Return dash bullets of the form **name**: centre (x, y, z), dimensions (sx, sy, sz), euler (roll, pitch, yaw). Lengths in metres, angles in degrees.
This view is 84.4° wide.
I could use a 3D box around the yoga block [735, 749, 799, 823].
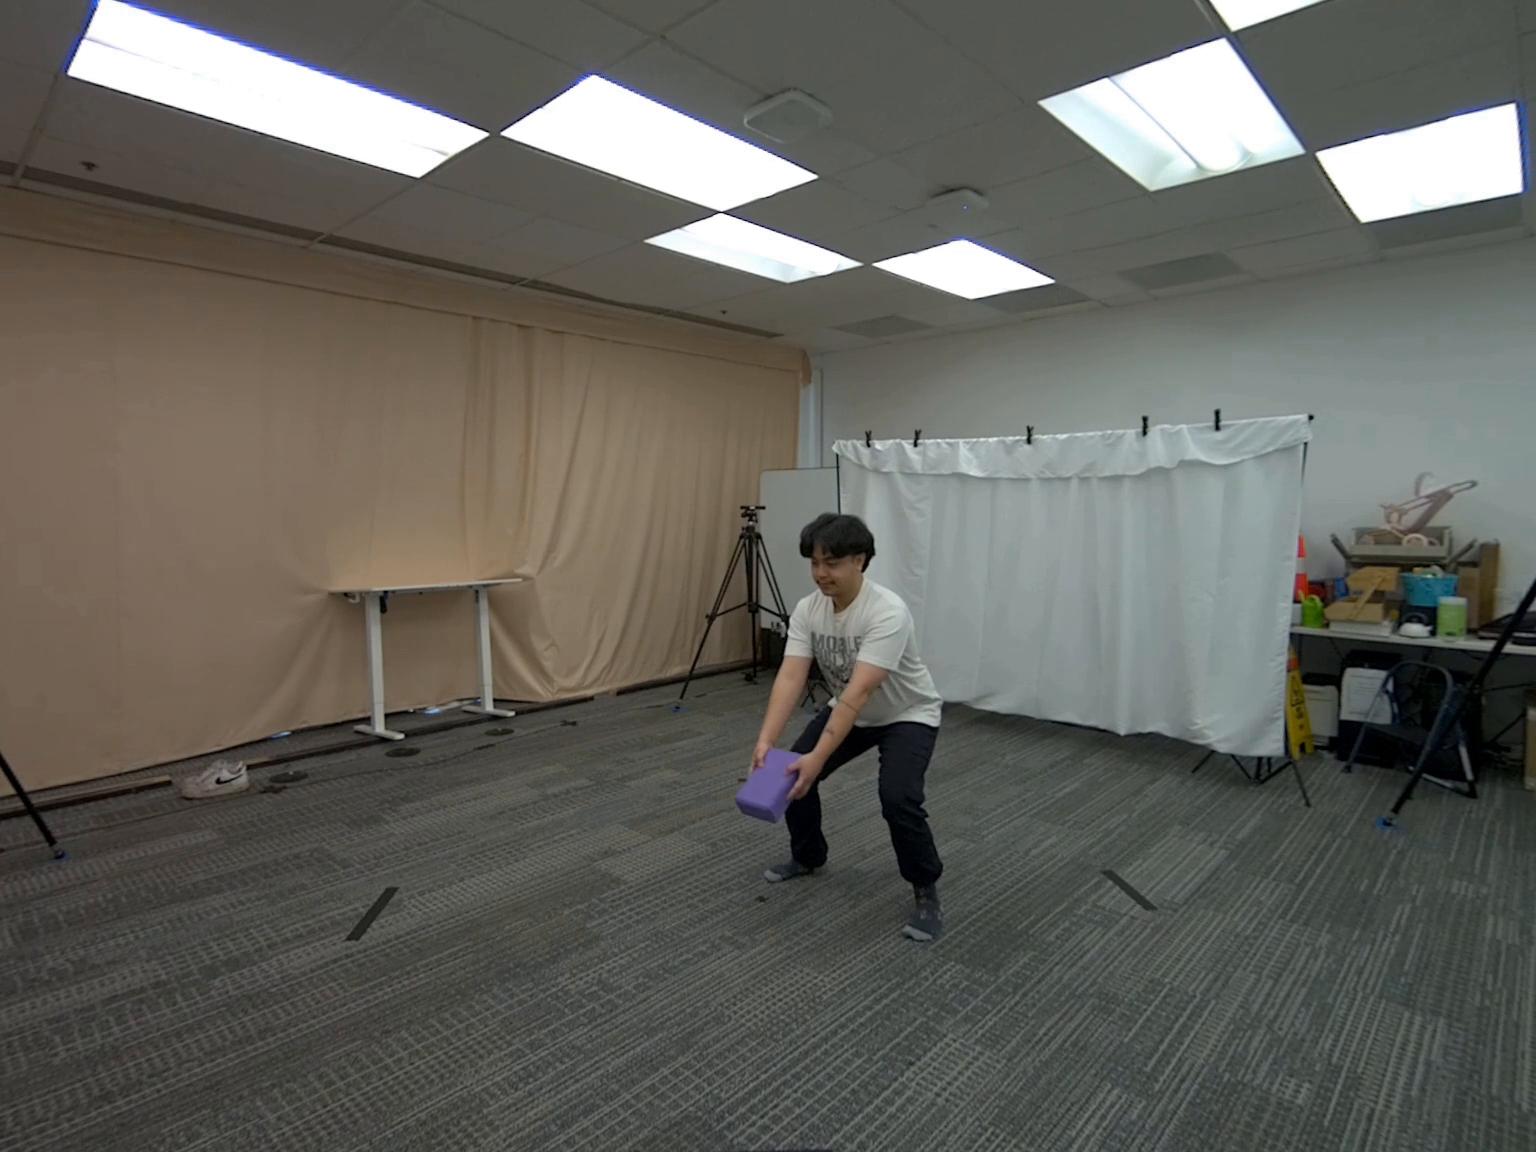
- **yoga block**: centre (0.020, 0.648, 2.660), dimensions (0.154, 0.074, 0.227), euler (2, 39, 42)
